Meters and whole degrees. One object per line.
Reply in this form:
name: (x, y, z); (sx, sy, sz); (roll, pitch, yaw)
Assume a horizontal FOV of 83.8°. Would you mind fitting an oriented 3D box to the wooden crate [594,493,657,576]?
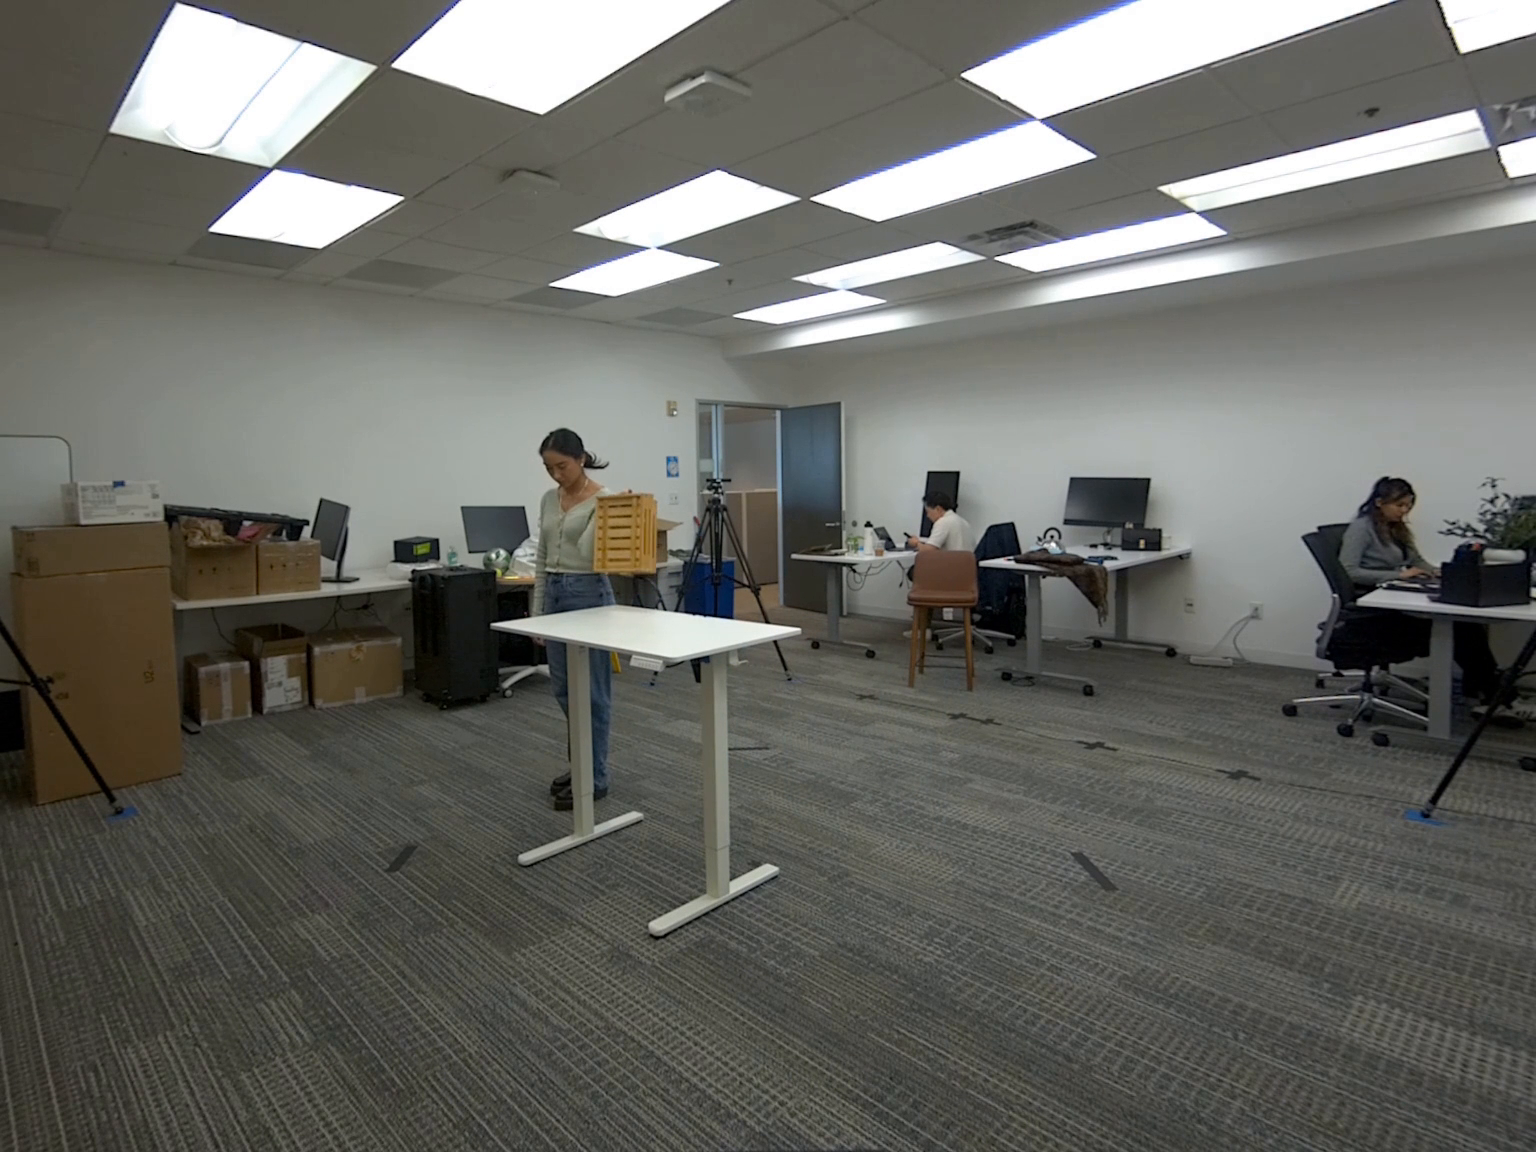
wooden crate: (-0.543, -0.166, 3.486); (0.309, 0.326, 0.266); (-1, -5, 28)
